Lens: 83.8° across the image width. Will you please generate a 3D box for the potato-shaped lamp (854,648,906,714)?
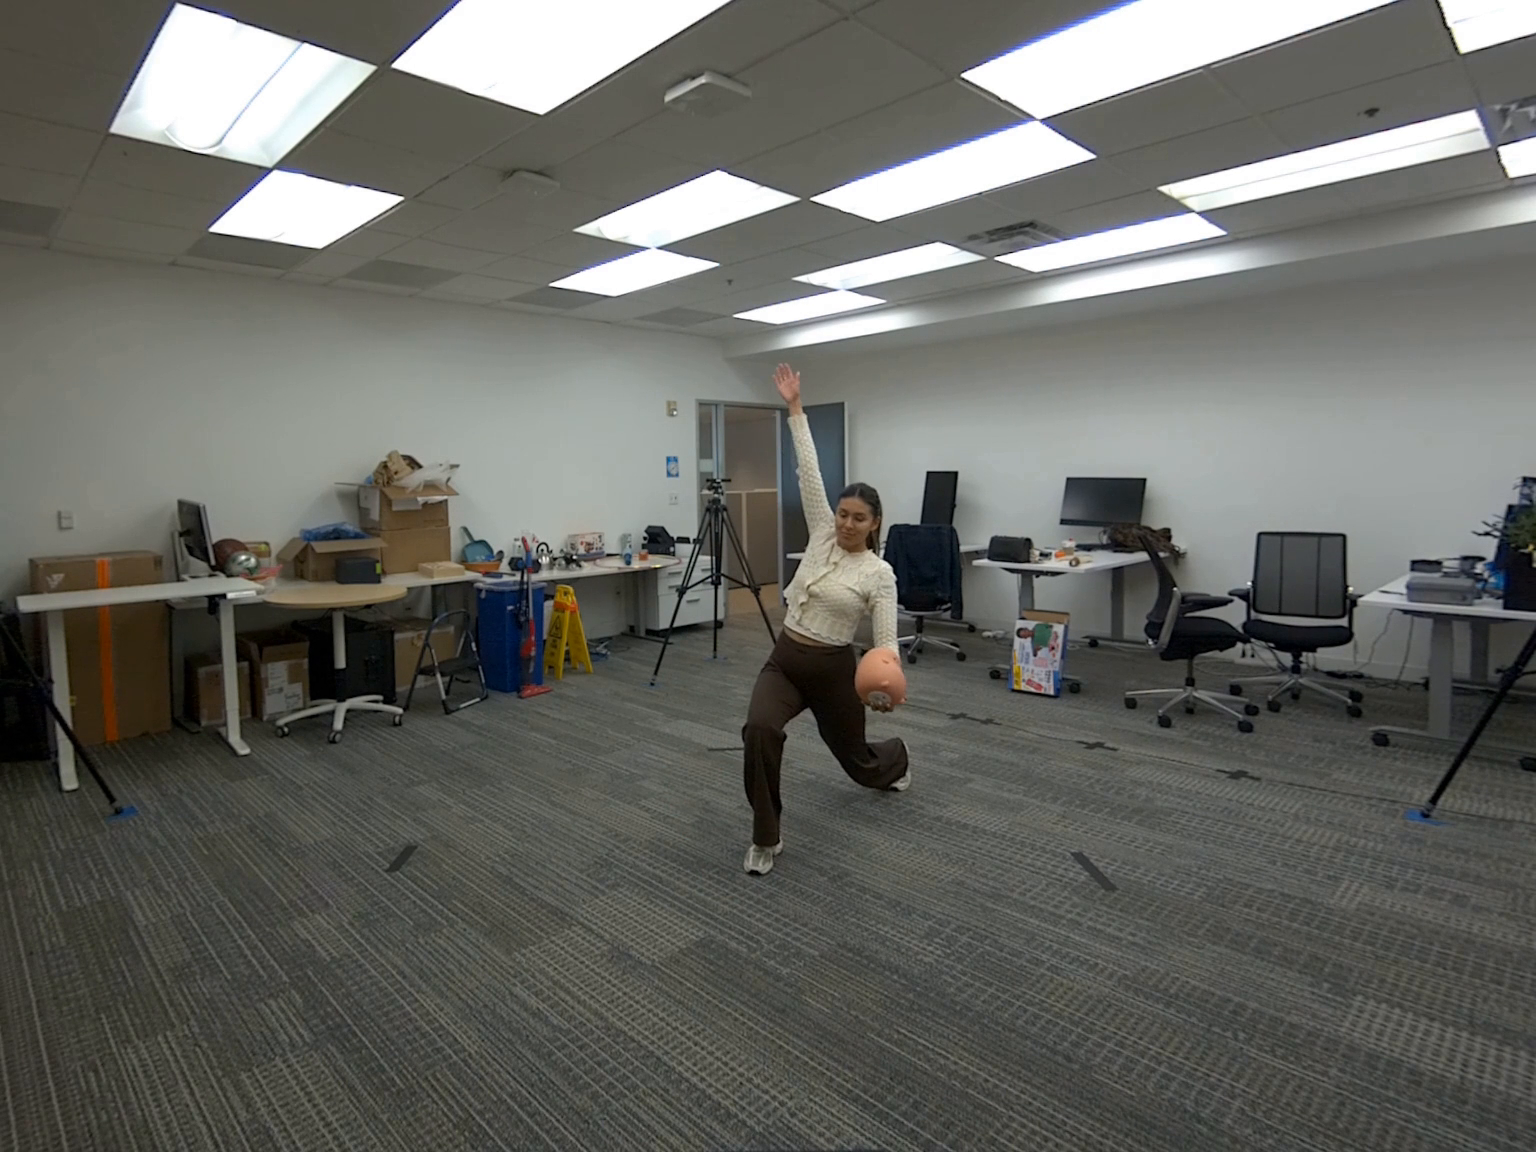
[{"bbox_3d":[0.385,0.337,2.891,0.174,0.201,0.159,-20,-53,36],"label":"potato-shaped lamp"}]
